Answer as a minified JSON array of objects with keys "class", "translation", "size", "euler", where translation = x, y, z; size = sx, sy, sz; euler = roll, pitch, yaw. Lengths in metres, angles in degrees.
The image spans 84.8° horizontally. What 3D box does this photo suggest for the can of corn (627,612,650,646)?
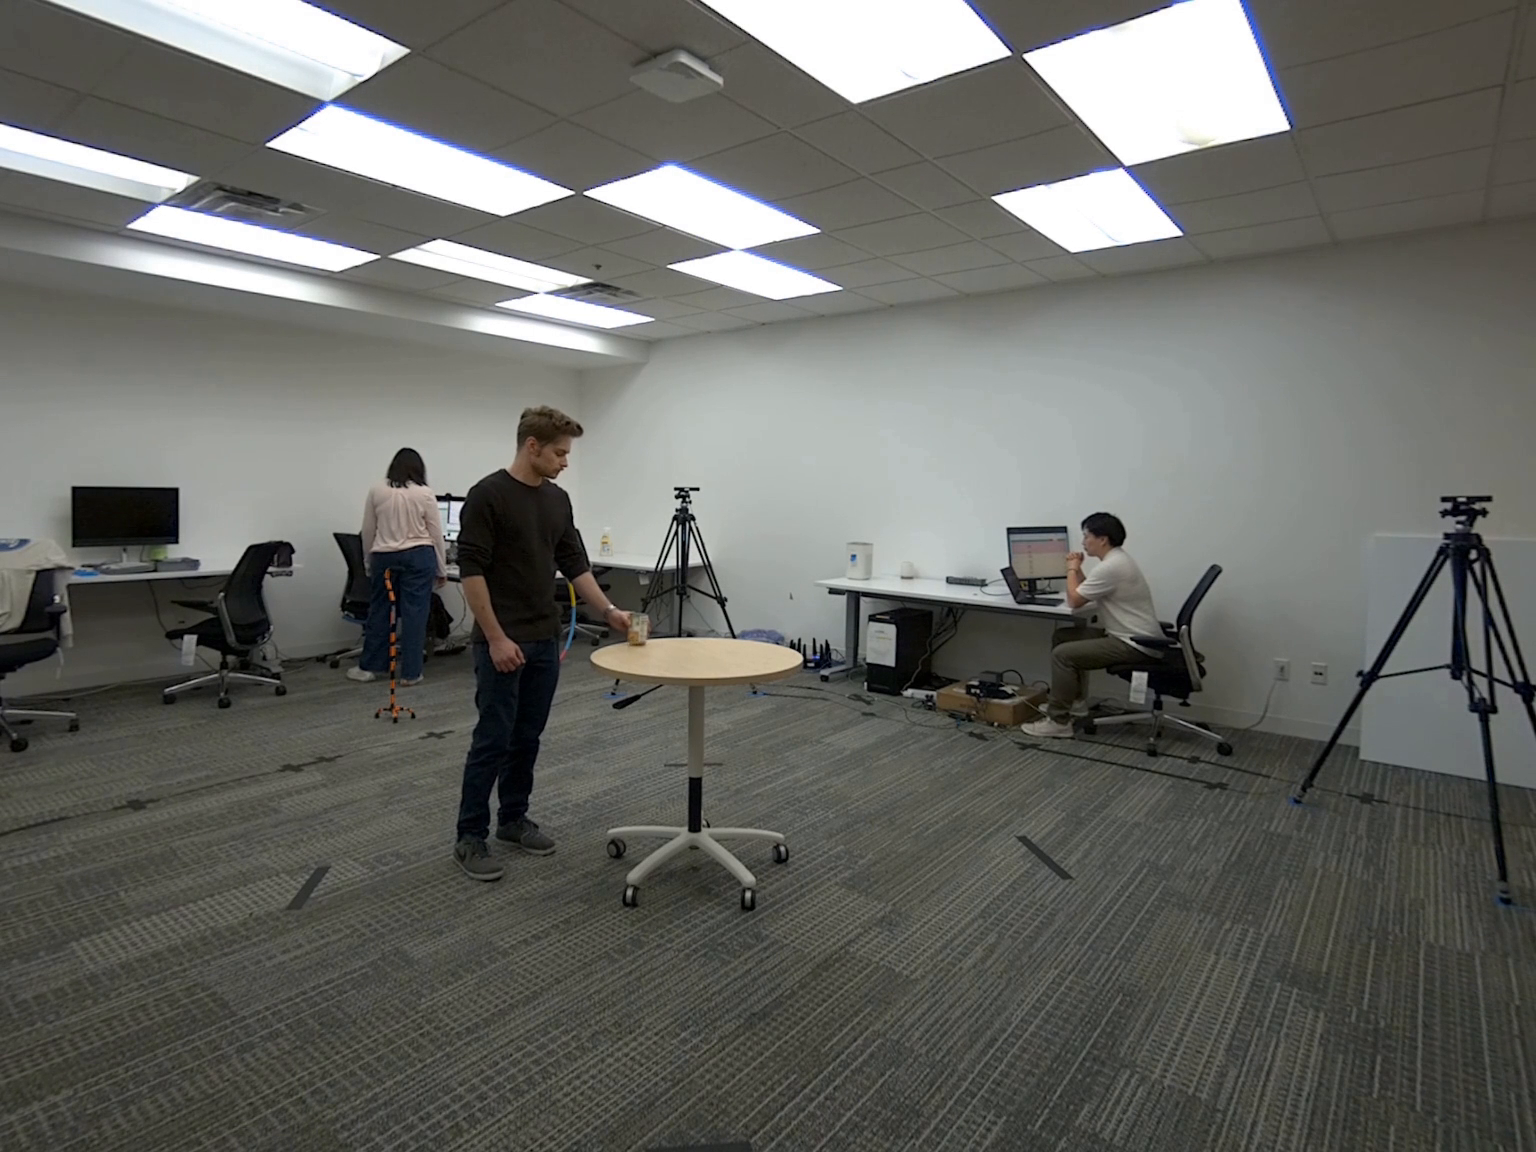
[{"class":"can of corn","translation":[-0.524,0.198,3.295],"size":[0.074,0.111,0.074],"euler":[3,-4,-2]}]
